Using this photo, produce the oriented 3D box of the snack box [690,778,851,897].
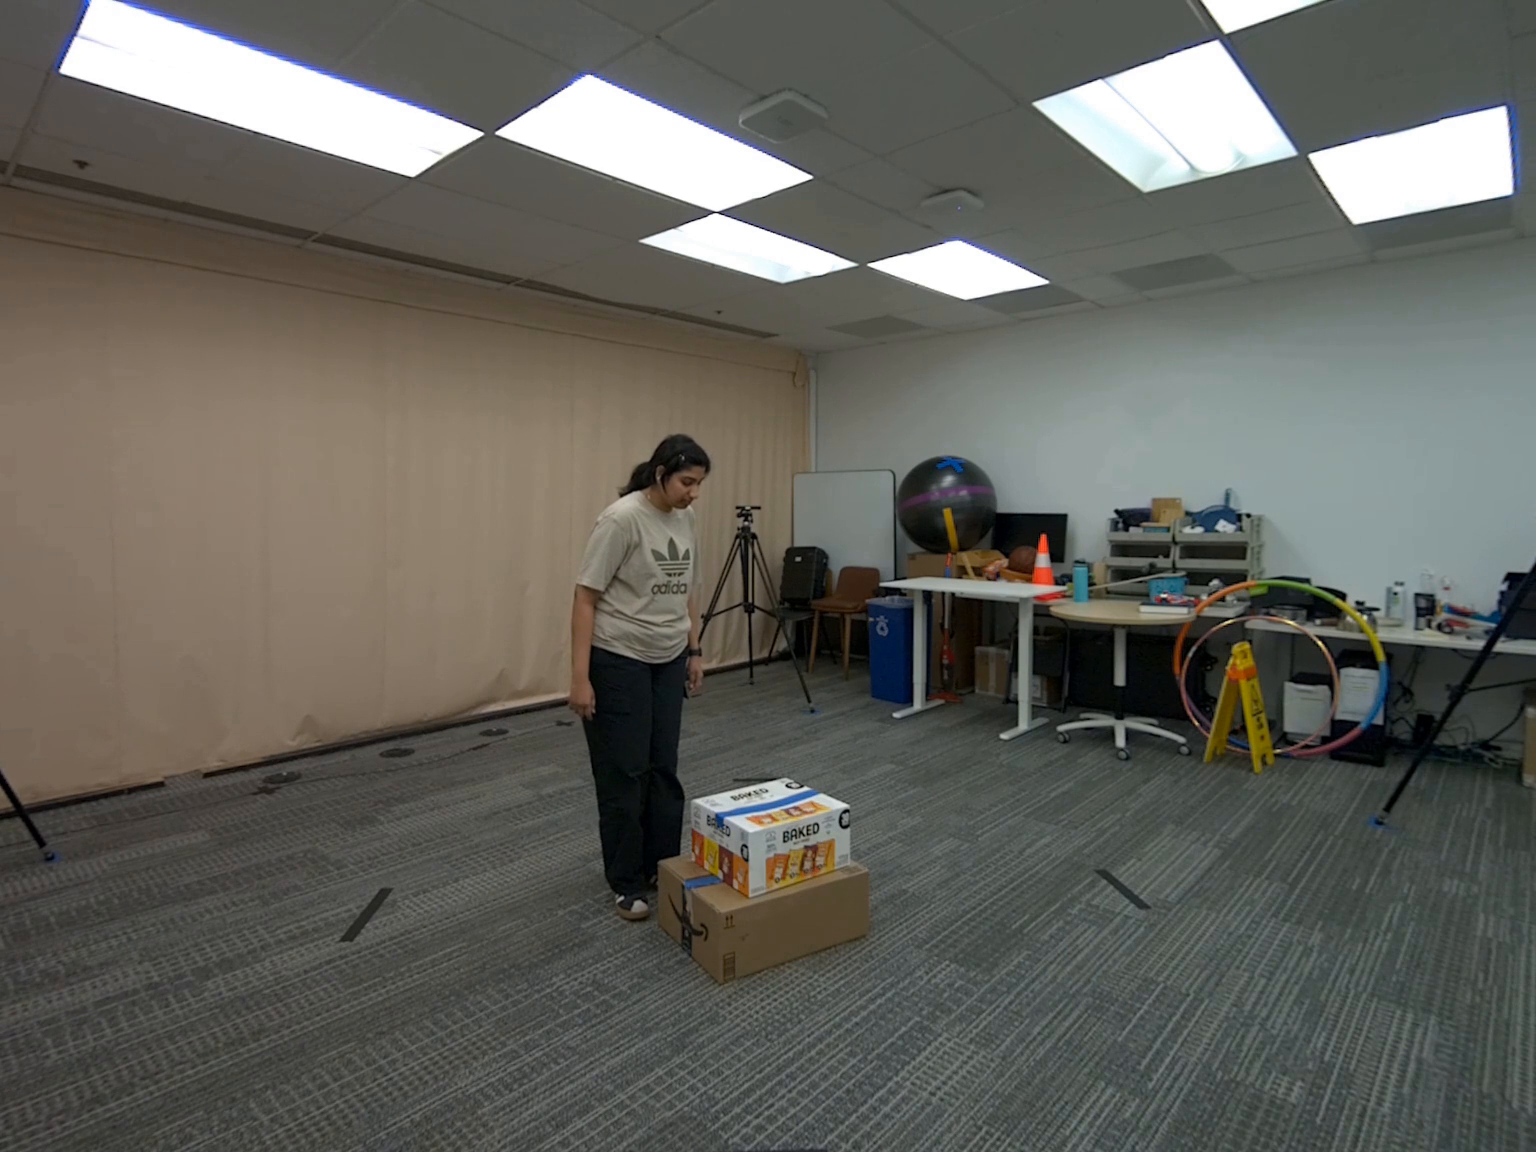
[{"bbox_3d":[0.010,0.849,2.770,0.393,0.205,0.351,-4,6,-35],"label":"snack box"}]
